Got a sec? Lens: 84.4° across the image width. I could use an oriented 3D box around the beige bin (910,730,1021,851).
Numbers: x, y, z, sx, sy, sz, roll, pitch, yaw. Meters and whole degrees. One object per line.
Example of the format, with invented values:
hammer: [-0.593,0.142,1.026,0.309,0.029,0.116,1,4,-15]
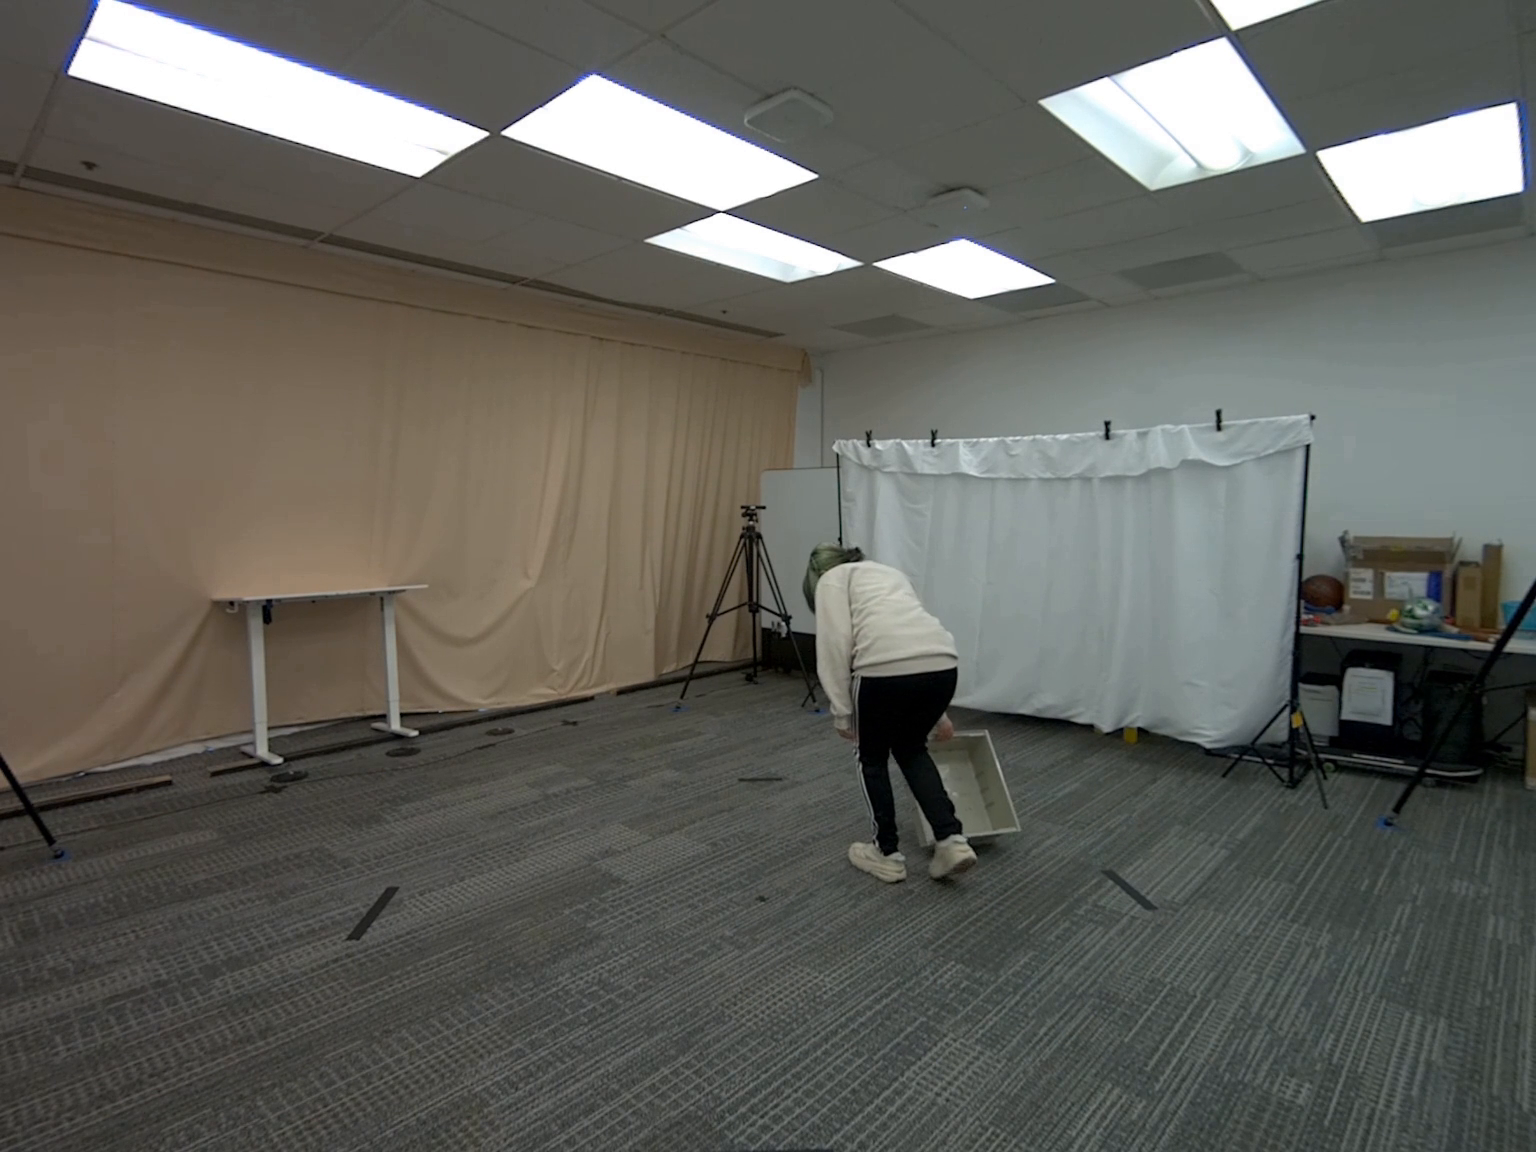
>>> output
beige bin: [0.777,0.887,3.474,0.371,0.432,0.188,-1,-34,-17]
